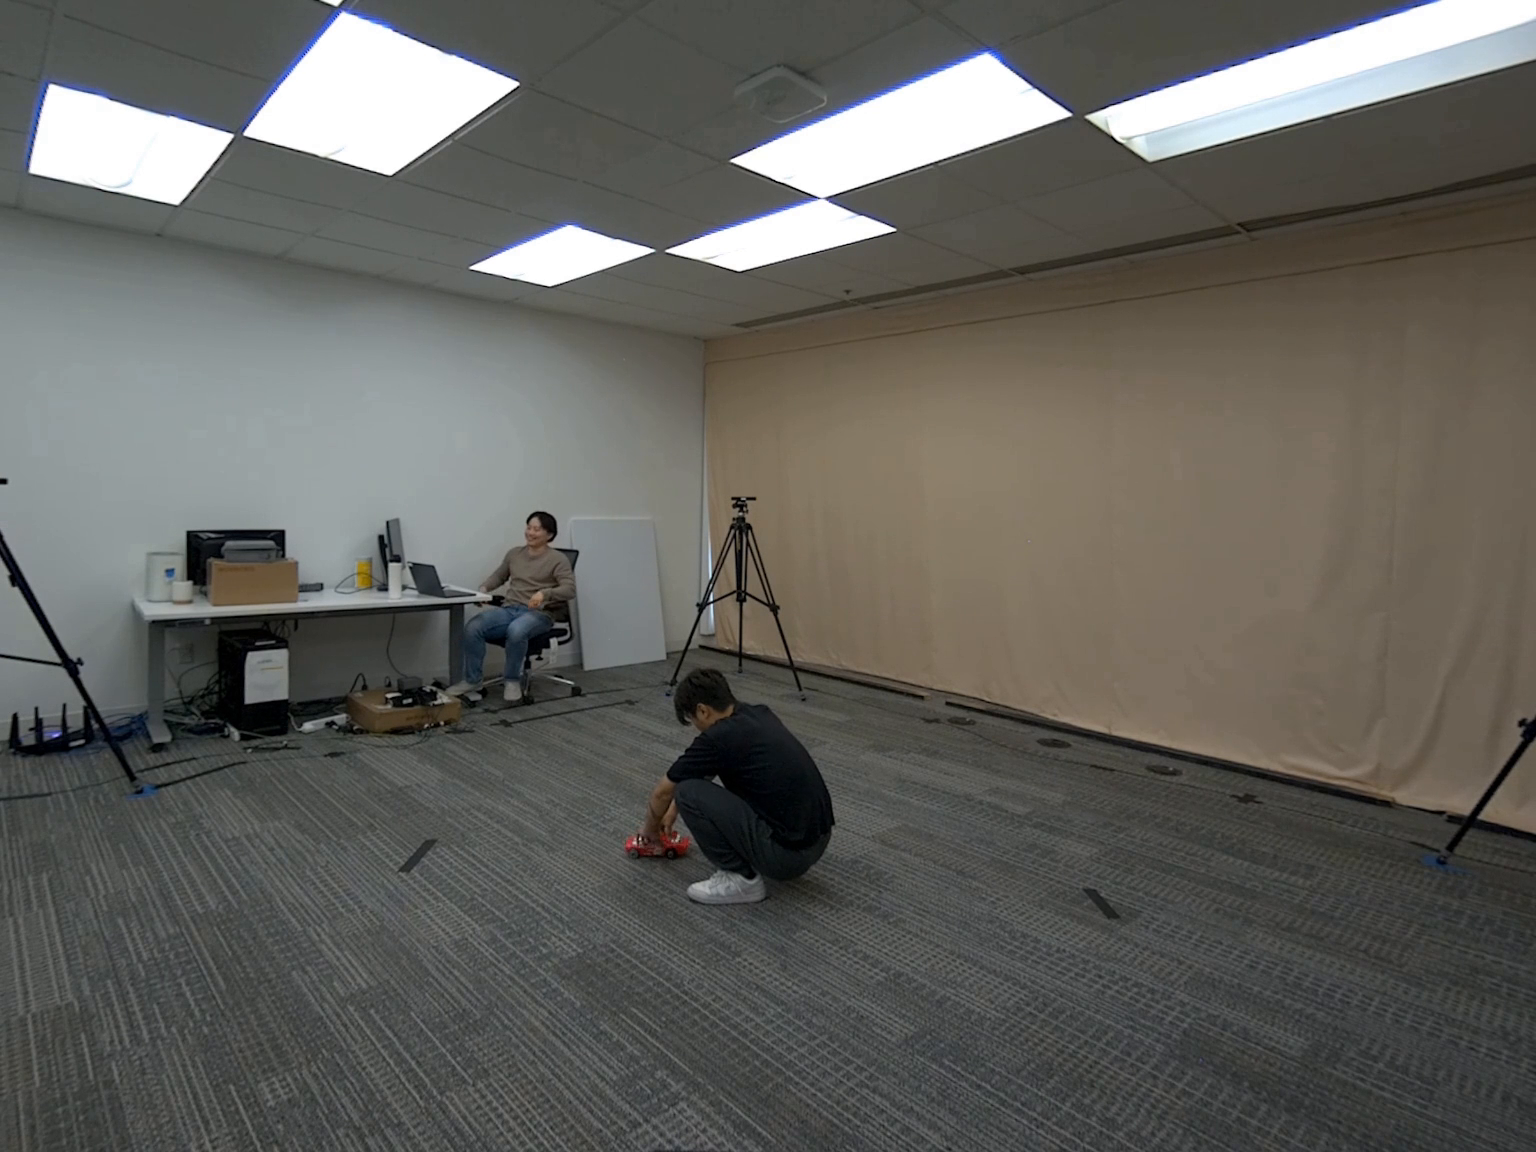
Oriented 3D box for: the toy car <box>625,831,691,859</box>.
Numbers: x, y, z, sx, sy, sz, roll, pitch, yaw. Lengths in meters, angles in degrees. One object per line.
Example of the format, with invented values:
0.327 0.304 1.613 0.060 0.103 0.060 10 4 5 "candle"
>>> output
-0.427 1.044 3.282 0.254 0.083 0.131 -12 7 0 "toy car"
